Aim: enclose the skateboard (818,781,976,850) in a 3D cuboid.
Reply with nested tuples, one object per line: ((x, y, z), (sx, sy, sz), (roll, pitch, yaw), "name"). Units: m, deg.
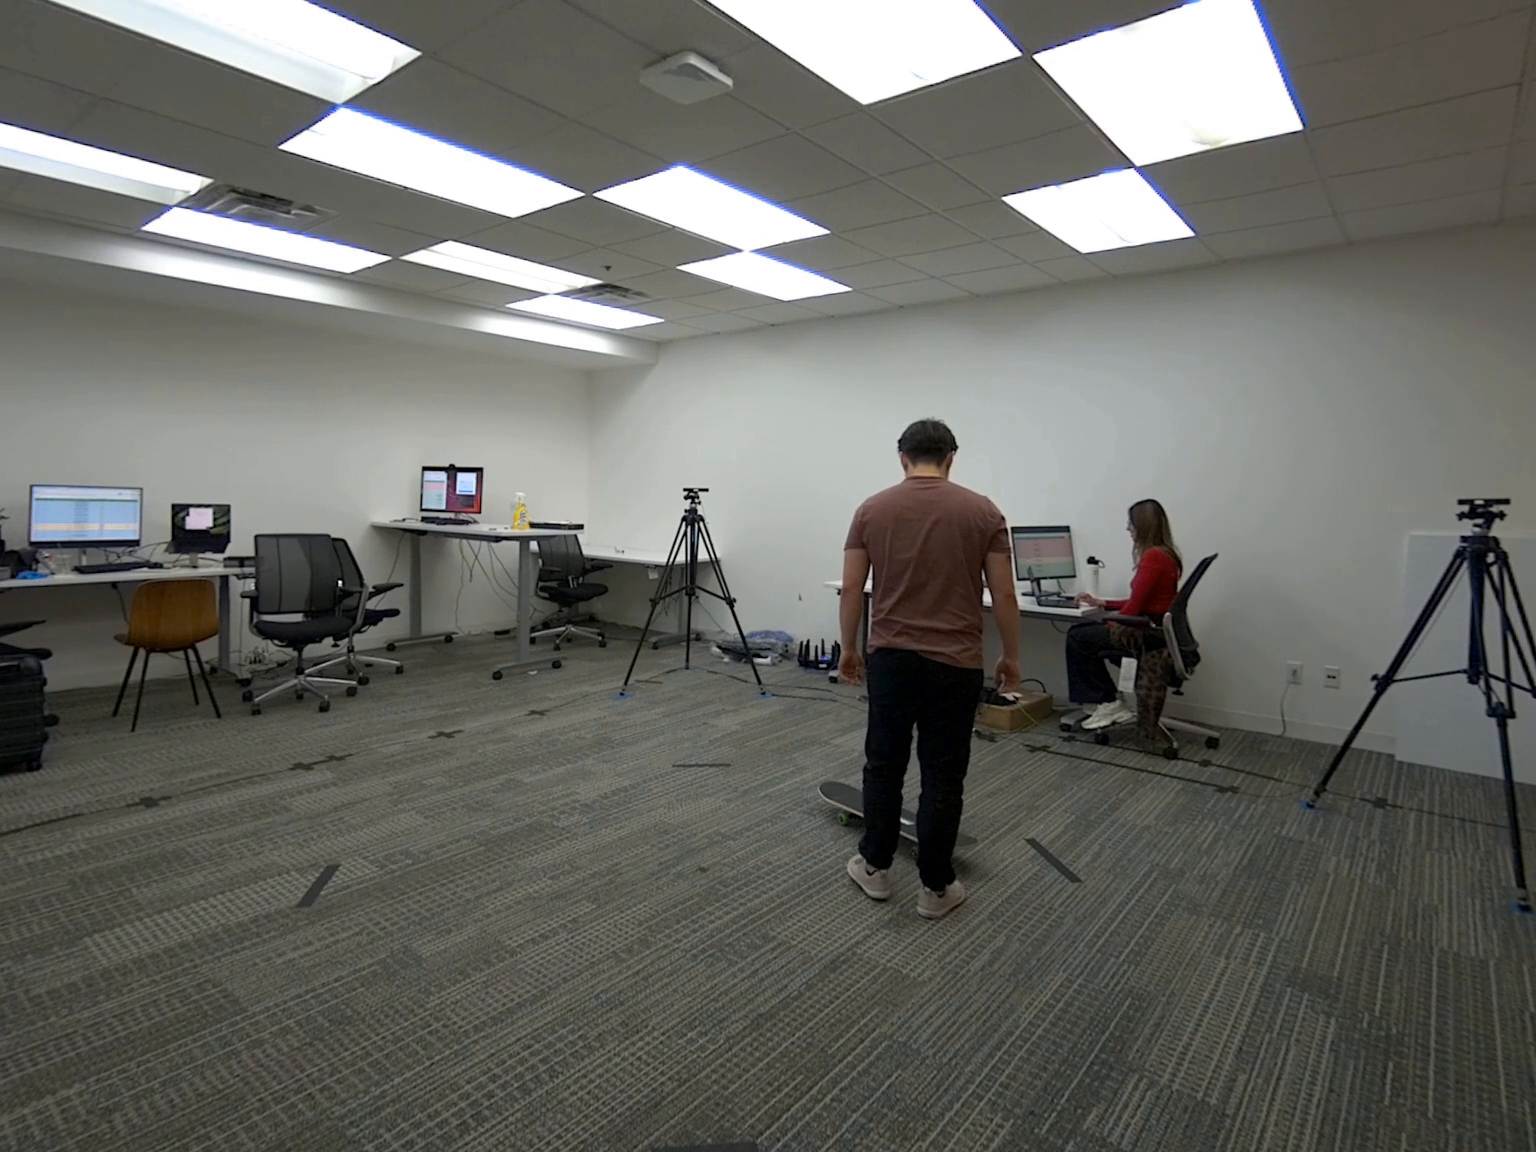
((0.490, 0.993, 3.440), (0.188, 0.110, 0.812), (-4, 8, -38), "skateboard")
